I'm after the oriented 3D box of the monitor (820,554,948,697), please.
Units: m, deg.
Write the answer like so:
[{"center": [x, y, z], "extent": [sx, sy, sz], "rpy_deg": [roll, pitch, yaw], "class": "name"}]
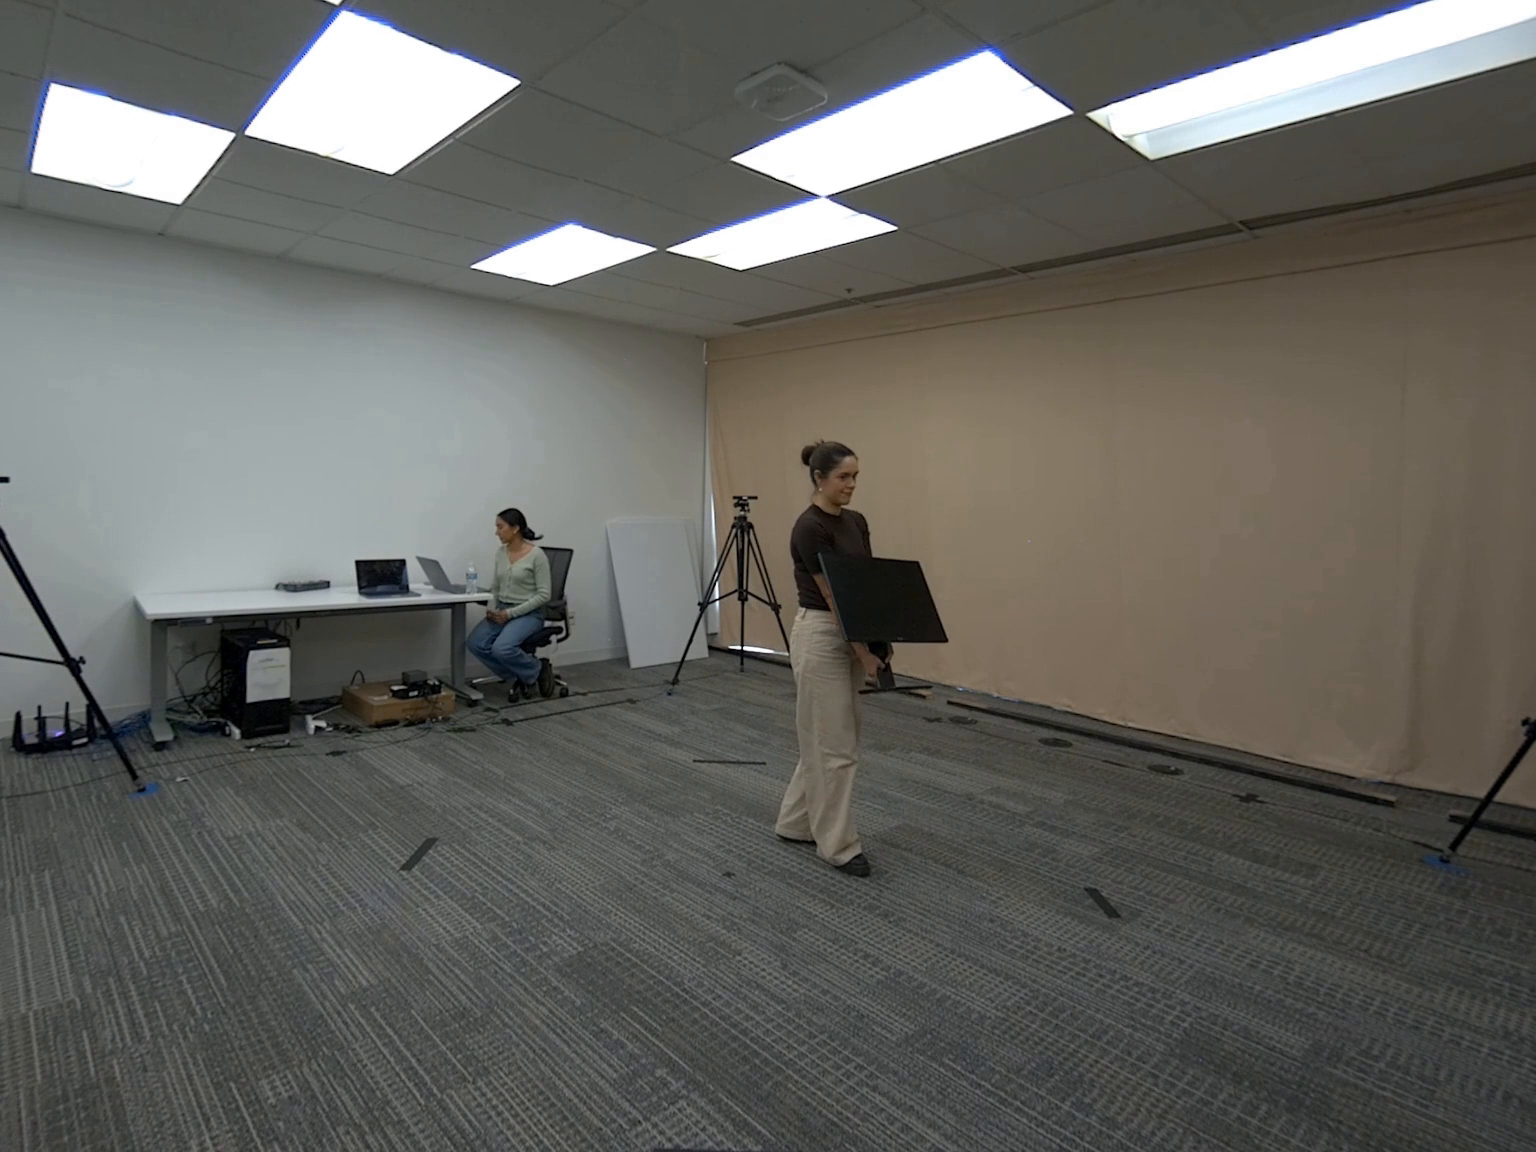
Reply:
[{"center": [0.423, 0.178, 3.161], "extent": [0.526, 0.529, 0.189], "rpy_deg": [5, -19, -37], "class": "monitor"}]
